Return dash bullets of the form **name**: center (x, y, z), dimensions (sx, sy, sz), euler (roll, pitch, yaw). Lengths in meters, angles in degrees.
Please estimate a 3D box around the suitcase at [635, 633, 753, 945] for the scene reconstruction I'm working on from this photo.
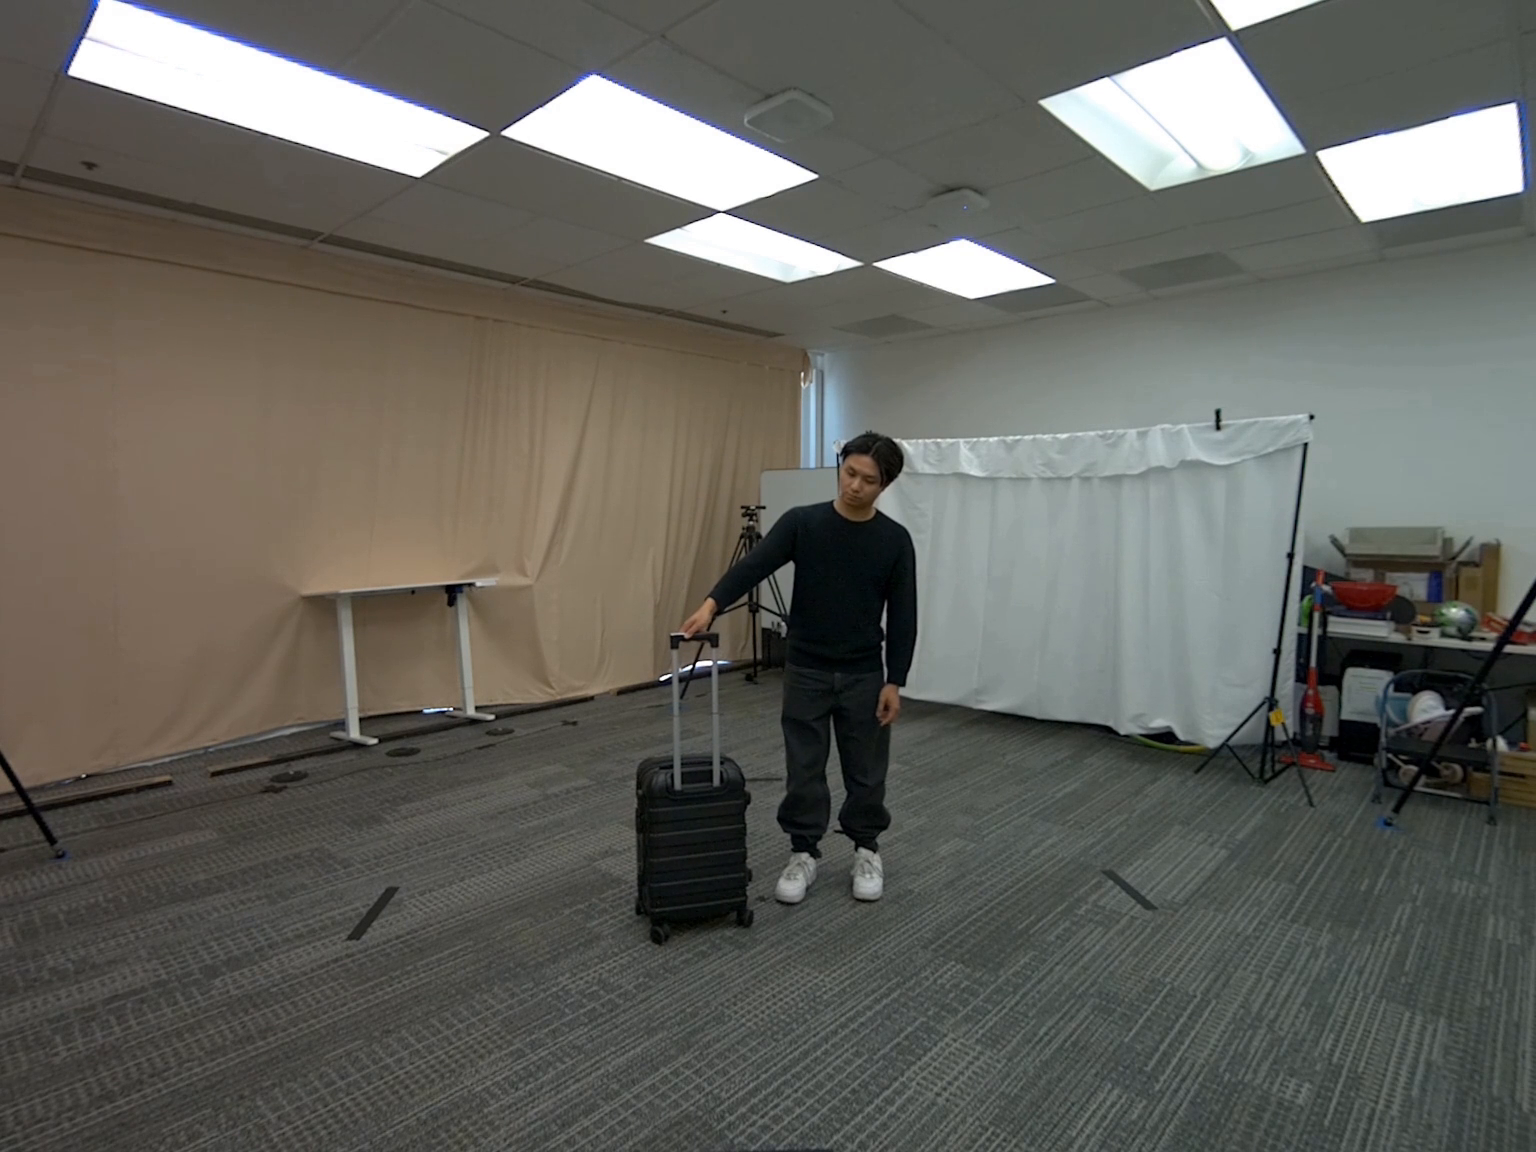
- **suitcase**: center (-0.263, 0.681, 2.825), dimensions (0.378, 0.978, 0.261), euler (-1, 1, -14)
